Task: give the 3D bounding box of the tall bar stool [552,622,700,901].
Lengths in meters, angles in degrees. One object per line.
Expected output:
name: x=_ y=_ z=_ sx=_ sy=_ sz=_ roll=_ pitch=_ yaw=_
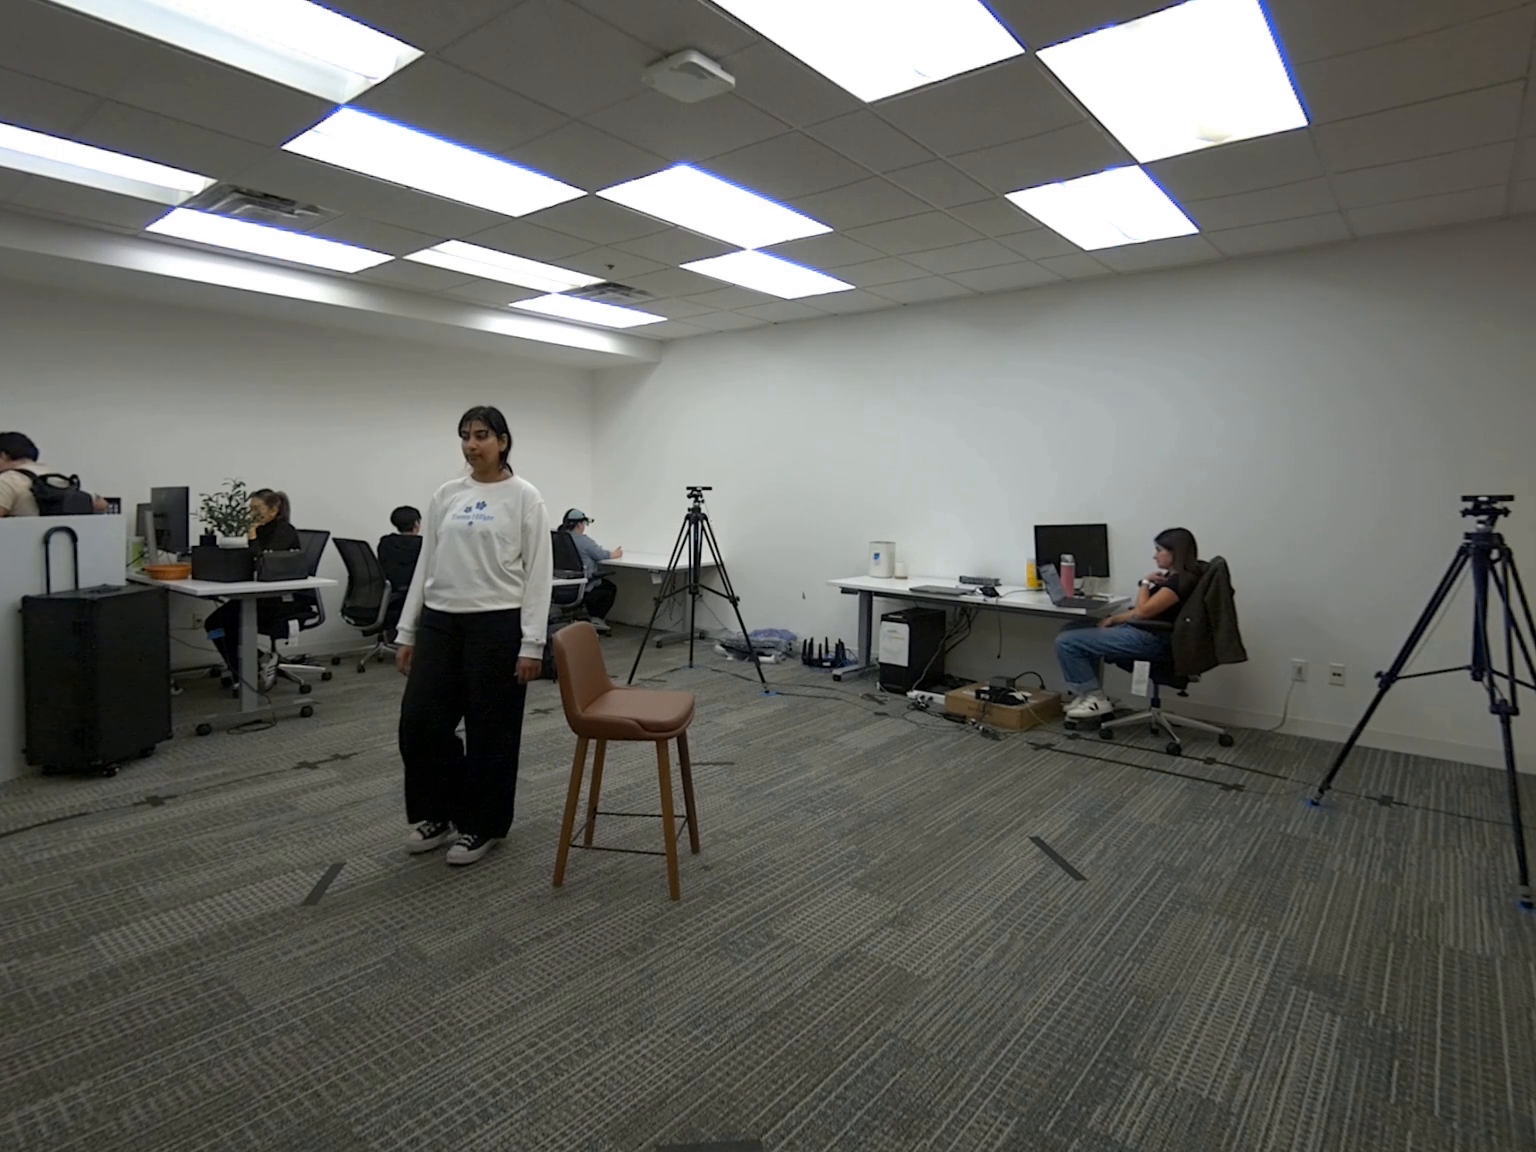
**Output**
tall bar stool: x=-0.512 y=0.626 z=3.067 sx=0.472 sy=0.888 sz=0.453 roll=-1 pitch=3 yaw=8
